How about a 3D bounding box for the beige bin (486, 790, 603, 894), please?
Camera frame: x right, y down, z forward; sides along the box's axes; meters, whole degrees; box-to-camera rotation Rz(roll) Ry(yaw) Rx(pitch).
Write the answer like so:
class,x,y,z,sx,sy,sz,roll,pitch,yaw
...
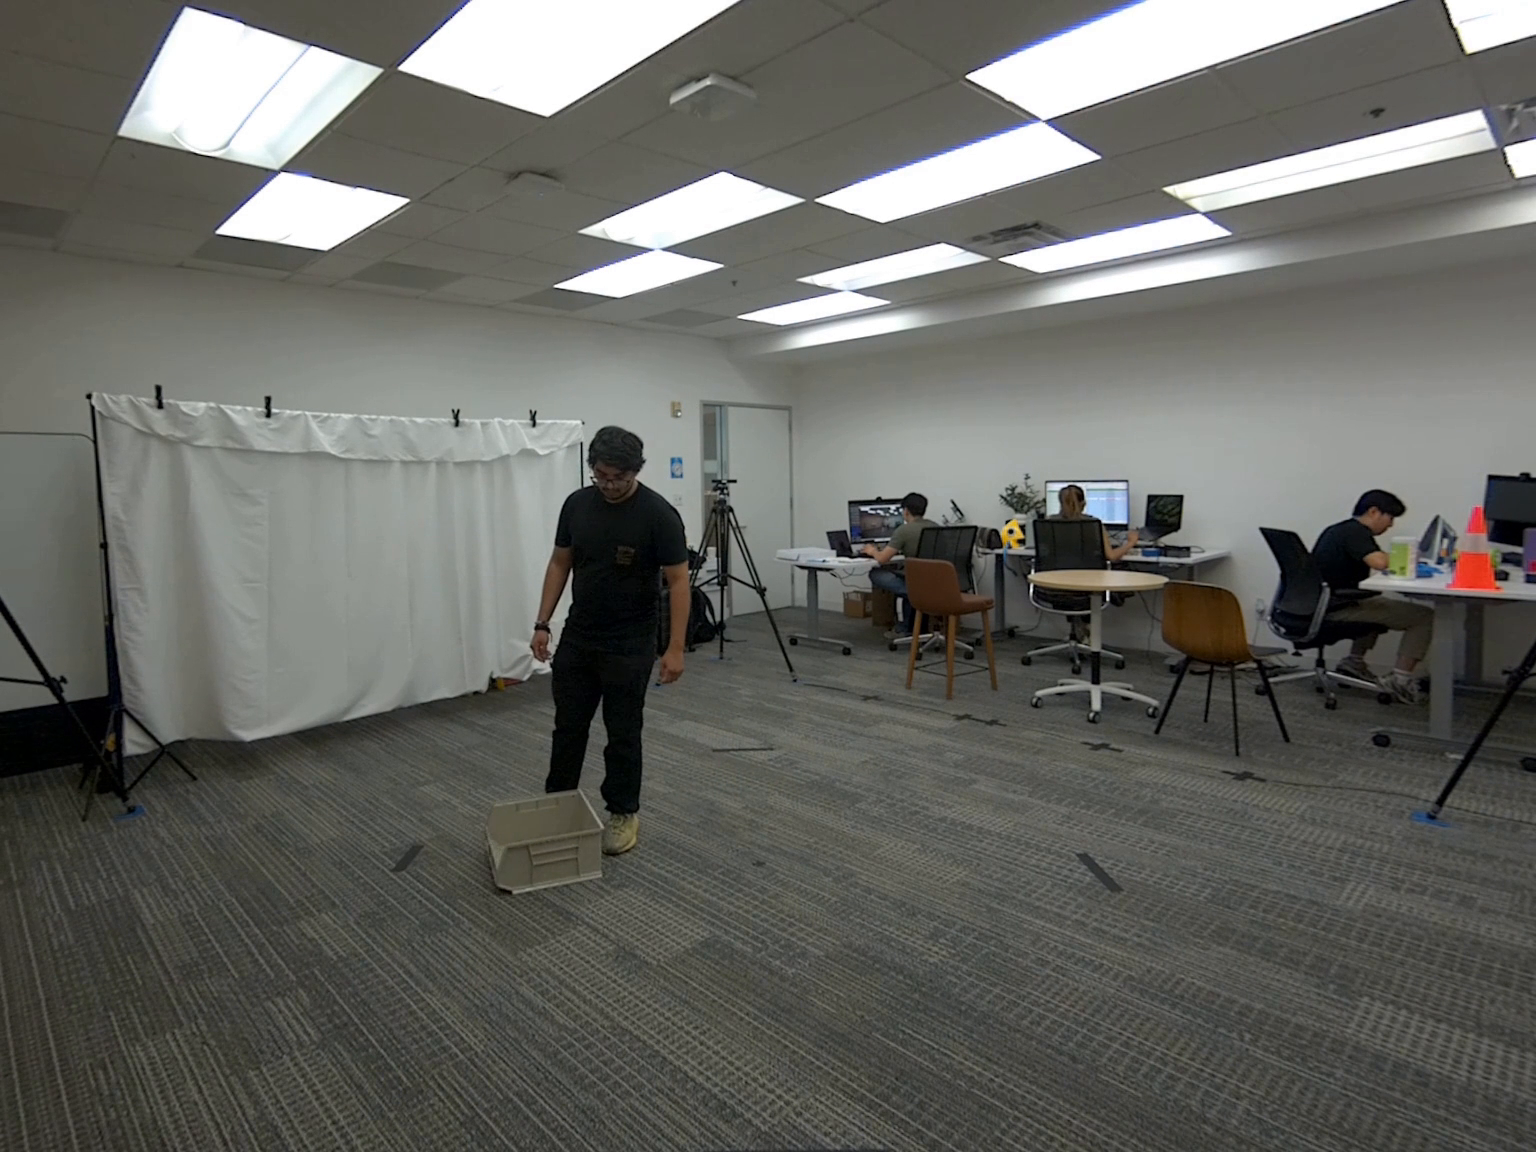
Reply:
class,x,y,z,sx,sy,sz,roll,pitch,yaw
beige bin,-0.832,0.970,3.147,0.370,0.188,0.432,-3,5,-23
